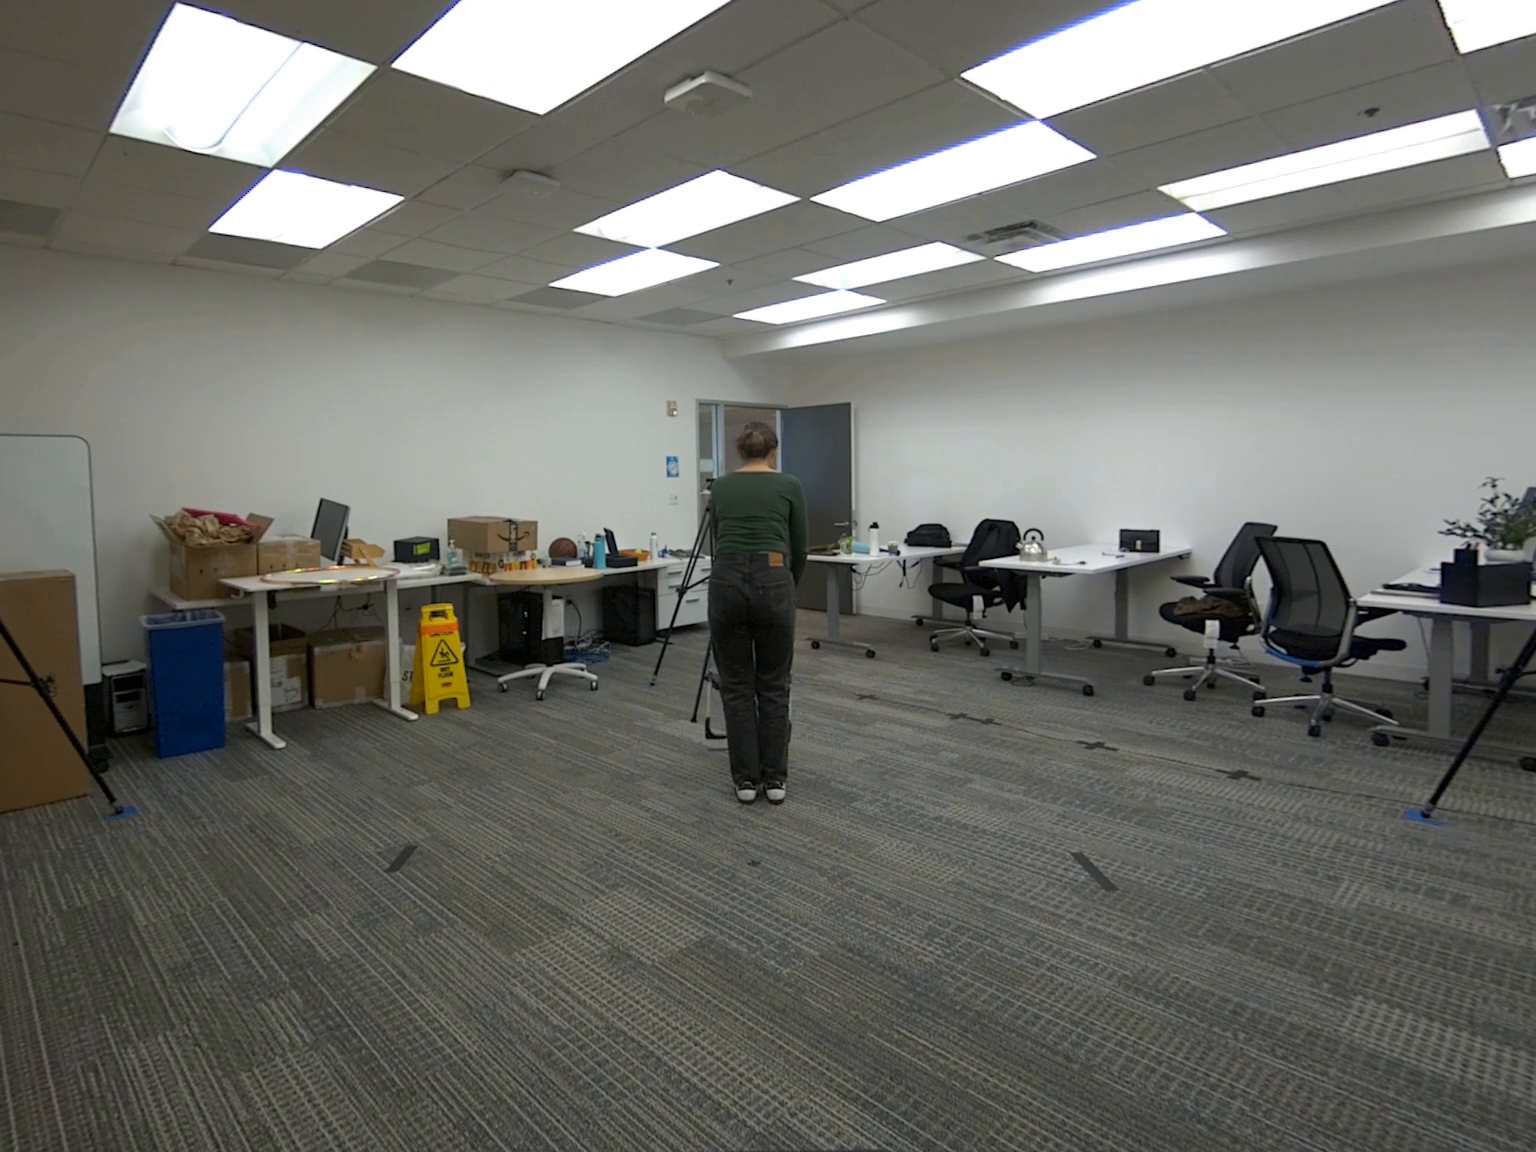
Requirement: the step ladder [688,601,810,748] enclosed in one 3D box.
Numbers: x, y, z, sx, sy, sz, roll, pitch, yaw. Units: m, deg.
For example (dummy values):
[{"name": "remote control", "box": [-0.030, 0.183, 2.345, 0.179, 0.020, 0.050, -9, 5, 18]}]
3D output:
[{"name": "step ladder", "box": [-0.102, 0.466, 4.148, 0.423, 0.605, 0.356, 6, 2, -17]}]
